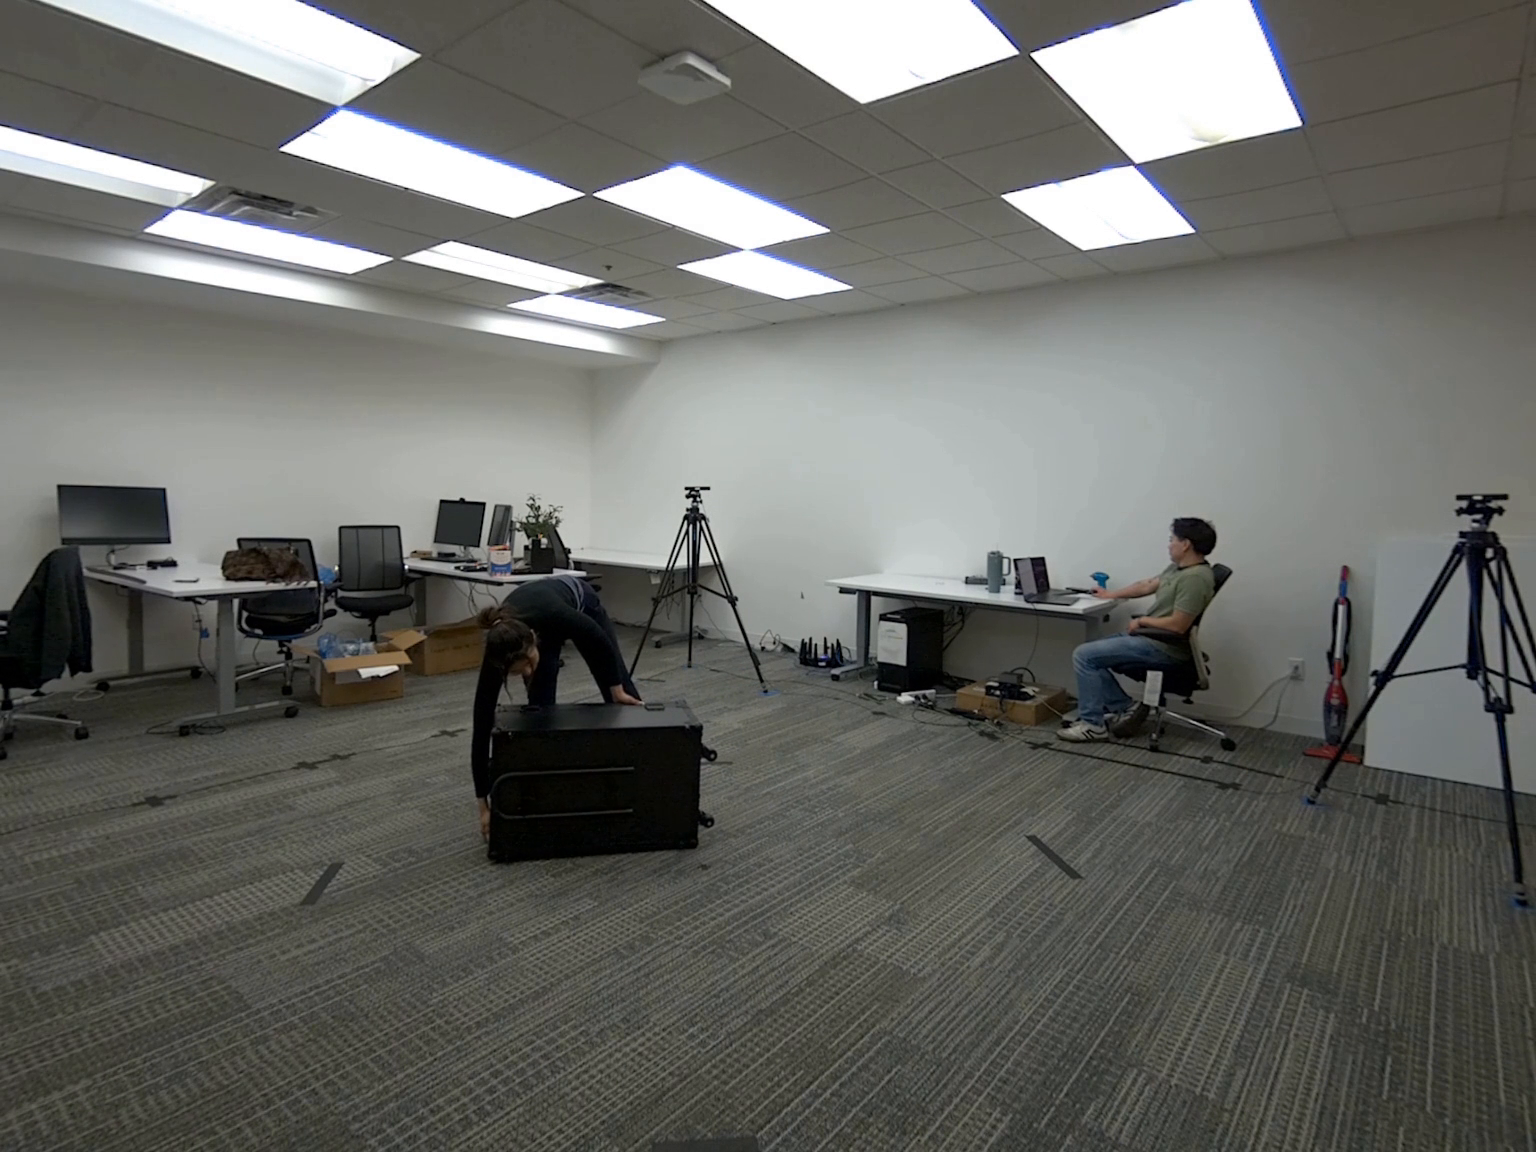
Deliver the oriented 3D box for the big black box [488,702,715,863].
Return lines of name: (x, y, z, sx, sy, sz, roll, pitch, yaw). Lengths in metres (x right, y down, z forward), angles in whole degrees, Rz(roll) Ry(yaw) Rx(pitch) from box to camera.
big black box: (-0.659, 0.773, 3.338, 0.848, 0.518, 0.405, 0, 6, -15)
